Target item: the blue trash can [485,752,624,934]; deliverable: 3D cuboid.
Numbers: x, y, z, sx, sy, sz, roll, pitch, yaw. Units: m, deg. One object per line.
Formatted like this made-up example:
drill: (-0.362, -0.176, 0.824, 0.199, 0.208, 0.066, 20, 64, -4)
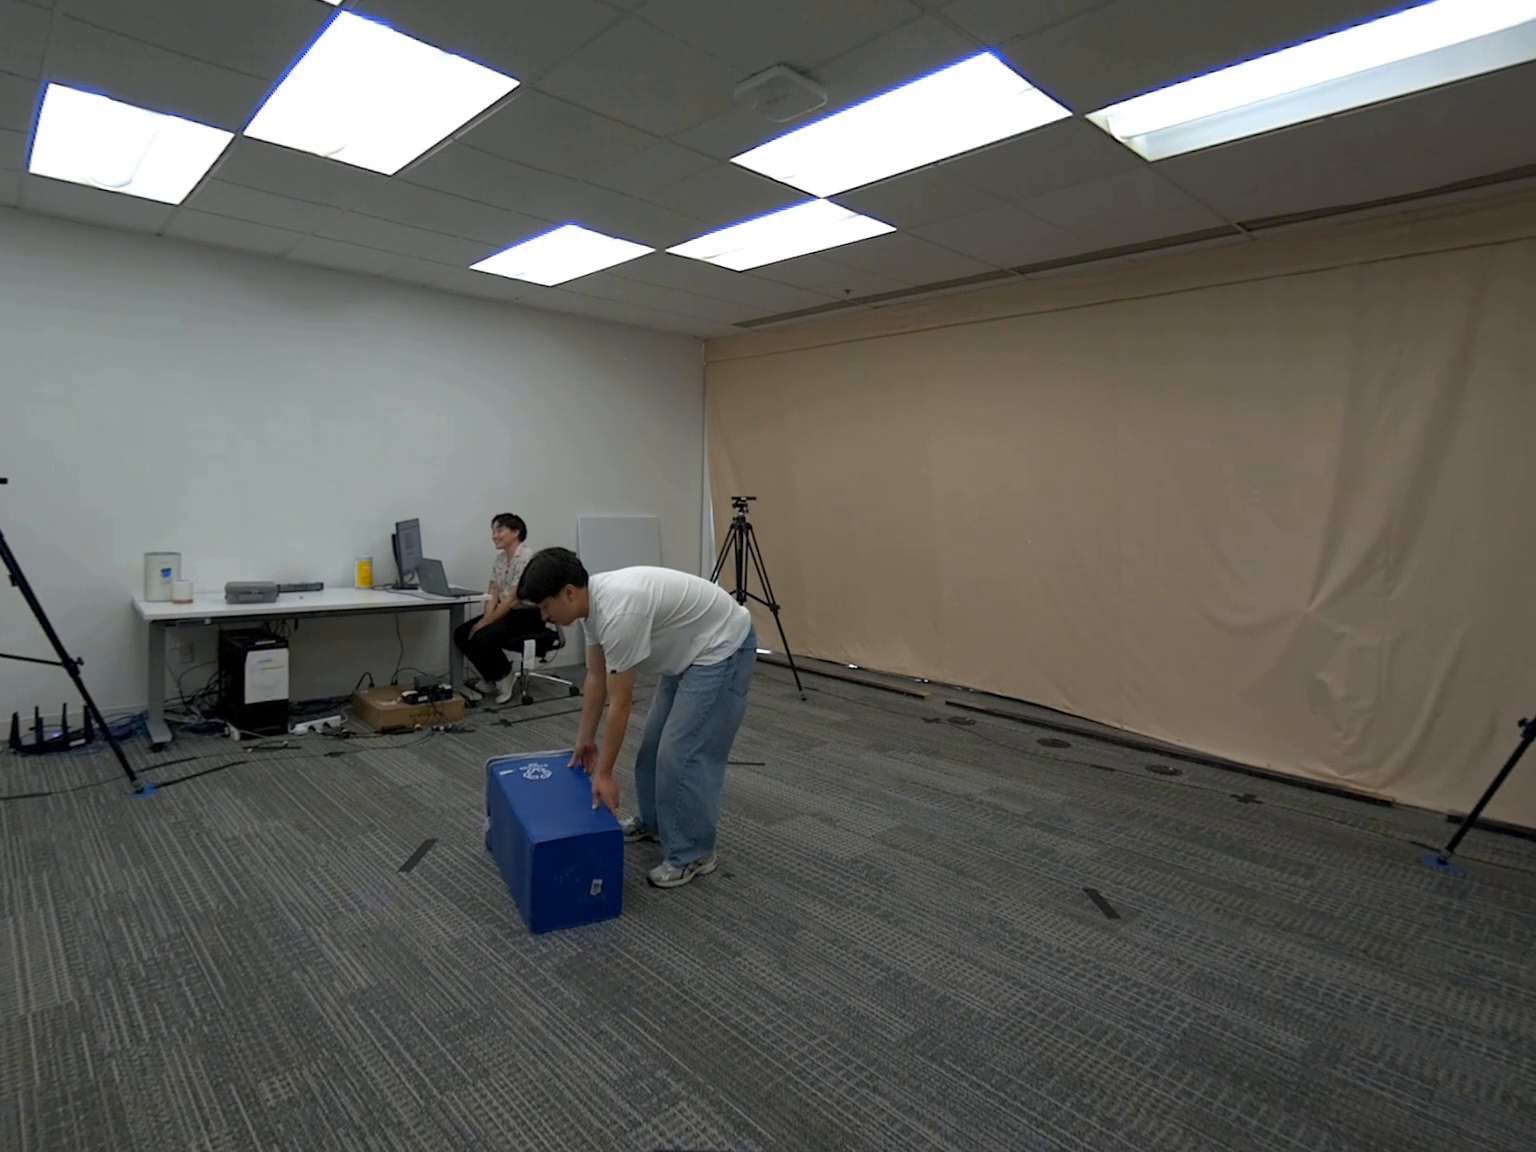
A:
blue trash can: (-0.778, 0.936, 3.018, 0.367, 0.376, 0.730, 0, 8, -28)
